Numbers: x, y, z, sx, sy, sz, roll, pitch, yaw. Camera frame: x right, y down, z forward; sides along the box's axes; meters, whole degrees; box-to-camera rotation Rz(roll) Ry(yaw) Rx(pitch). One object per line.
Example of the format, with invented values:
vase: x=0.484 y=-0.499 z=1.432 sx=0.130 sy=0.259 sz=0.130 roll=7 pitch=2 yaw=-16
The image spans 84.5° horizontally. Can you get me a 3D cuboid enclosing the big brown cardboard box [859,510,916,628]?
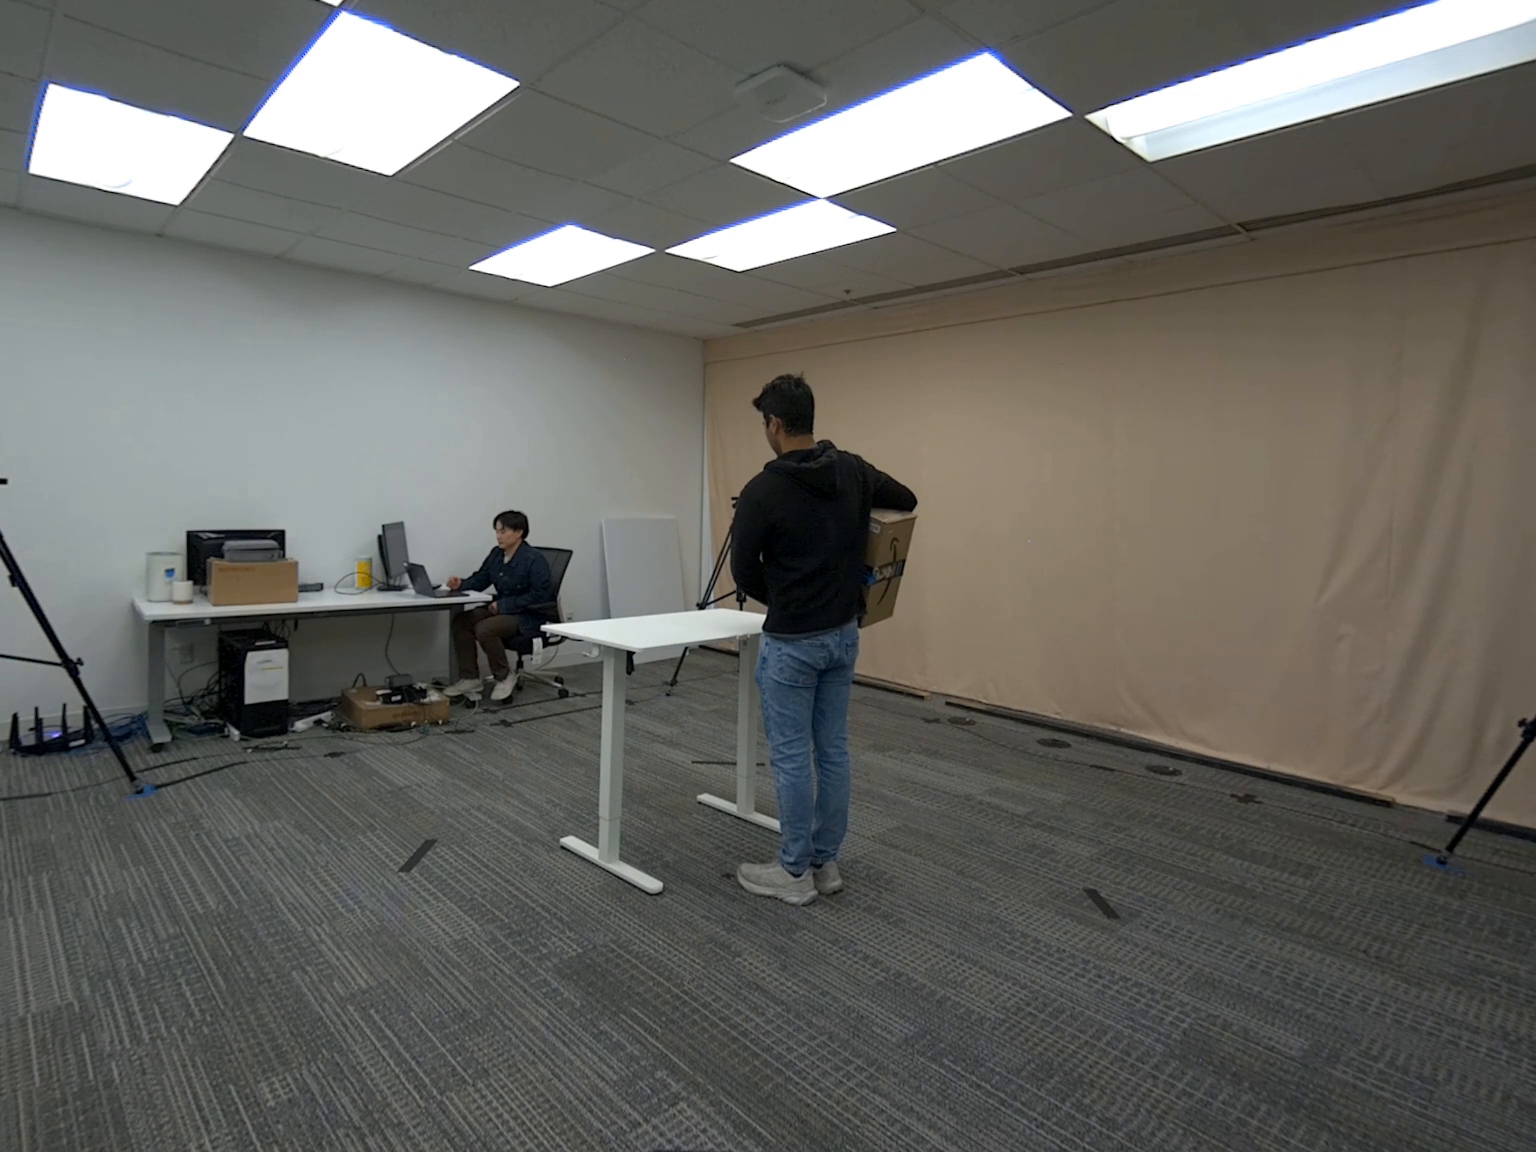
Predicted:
big brown cardboard box: x=0.228 y=-0.111 z=3.210 sx=0.607 sy=0.413 sz=0.229 roll=27 pitch=26 yaw=38
